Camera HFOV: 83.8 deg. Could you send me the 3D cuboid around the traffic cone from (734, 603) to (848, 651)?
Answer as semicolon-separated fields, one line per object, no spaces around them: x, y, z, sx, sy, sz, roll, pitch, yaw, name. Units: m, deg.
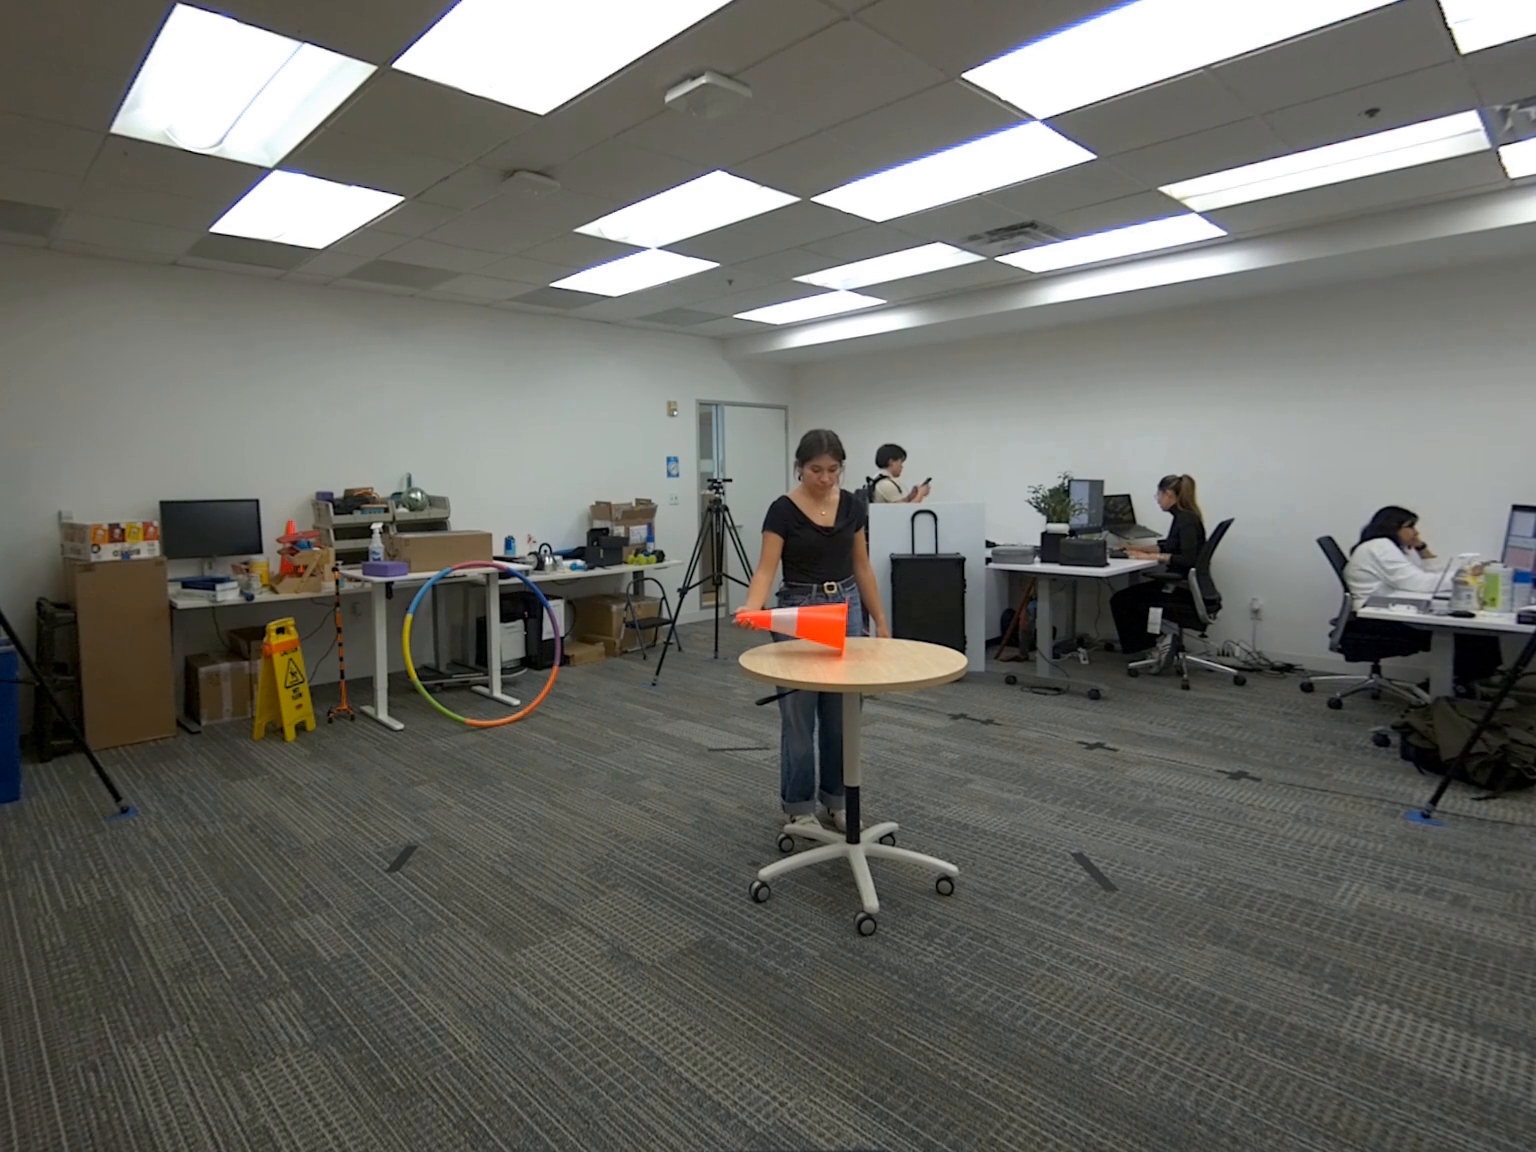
0.086;0.171;2.980;0.385;0.202;0.205;2;7;3;traffic cone
